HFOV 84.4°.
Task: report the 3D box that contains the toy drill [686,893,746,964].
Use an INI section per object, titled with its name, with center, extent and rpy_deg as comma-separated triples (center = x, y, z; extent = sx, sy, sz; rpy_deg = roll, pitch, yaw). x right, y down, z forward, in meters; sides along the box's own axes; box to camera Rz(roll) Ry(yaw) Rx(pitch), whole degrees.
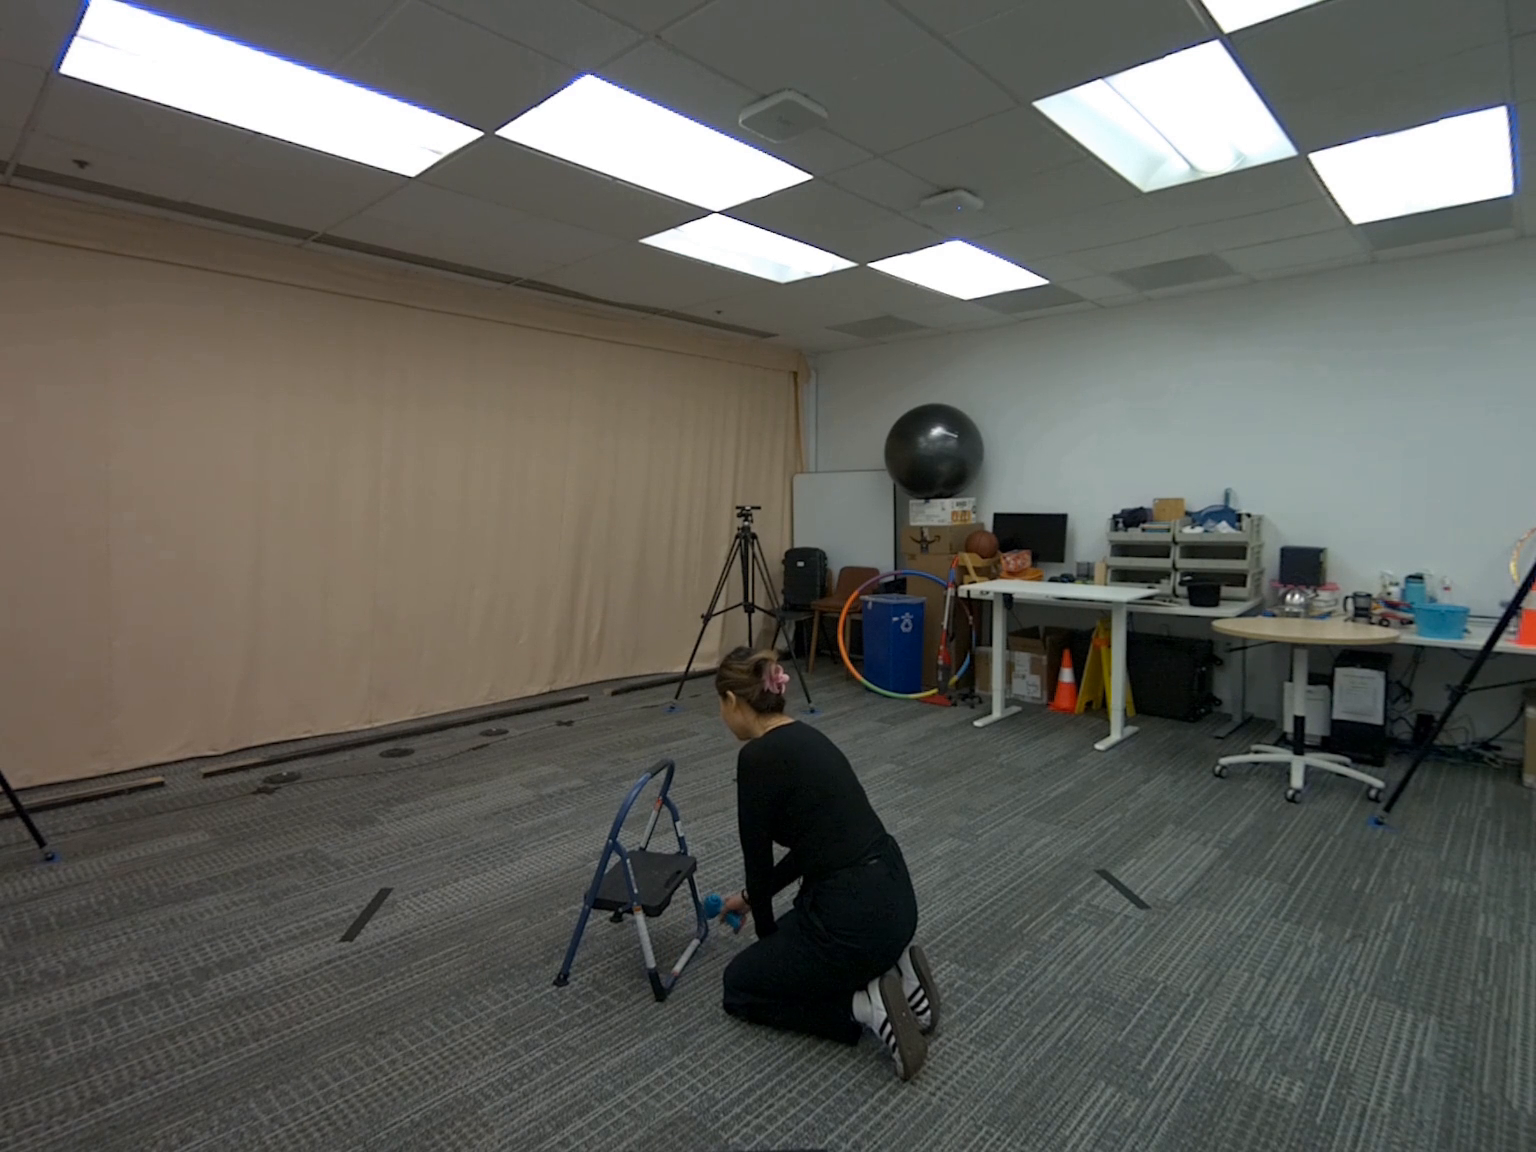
[toy drill]
center = -0.142, 1.082, 2.655
extent = 0.149, 0.168, 0.060
rpy_deg = 31, 44, 19
